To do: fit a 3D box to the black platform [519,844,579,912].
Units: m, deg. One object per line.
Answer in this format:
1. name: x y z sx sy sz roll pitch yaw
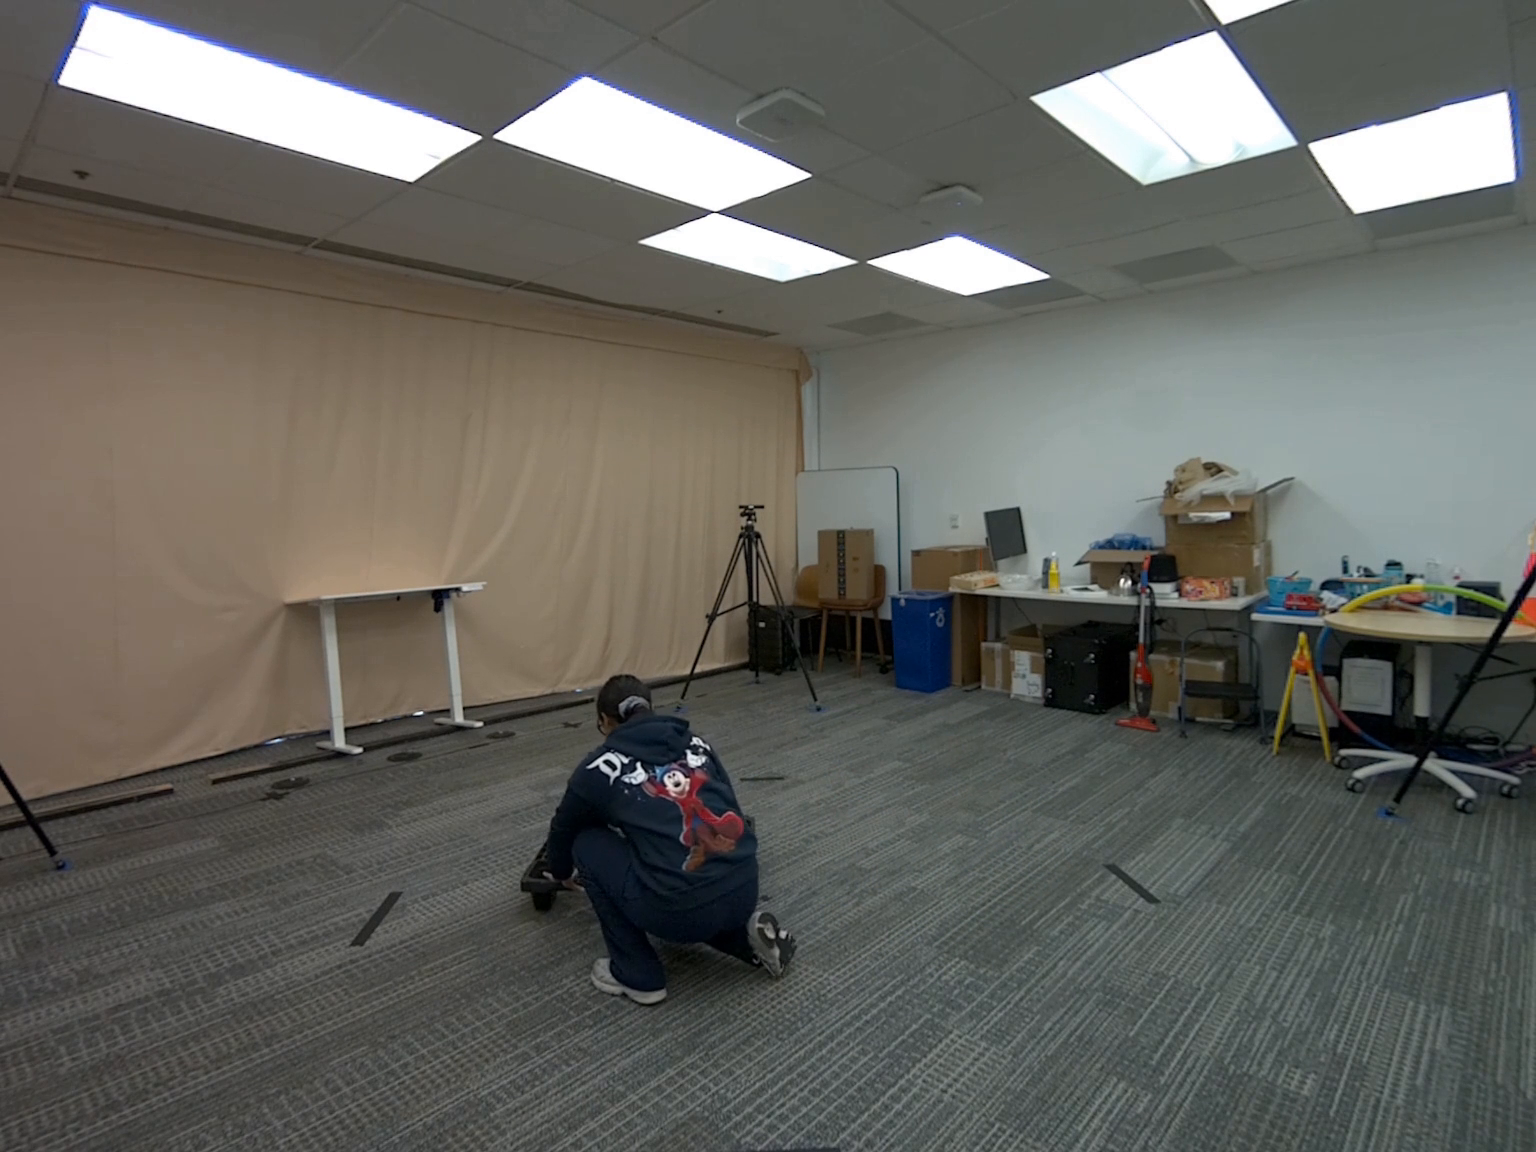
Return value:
1. black platform: -0.441 1.072 3.130 0.808 0.143 0.605 -1 6 2
